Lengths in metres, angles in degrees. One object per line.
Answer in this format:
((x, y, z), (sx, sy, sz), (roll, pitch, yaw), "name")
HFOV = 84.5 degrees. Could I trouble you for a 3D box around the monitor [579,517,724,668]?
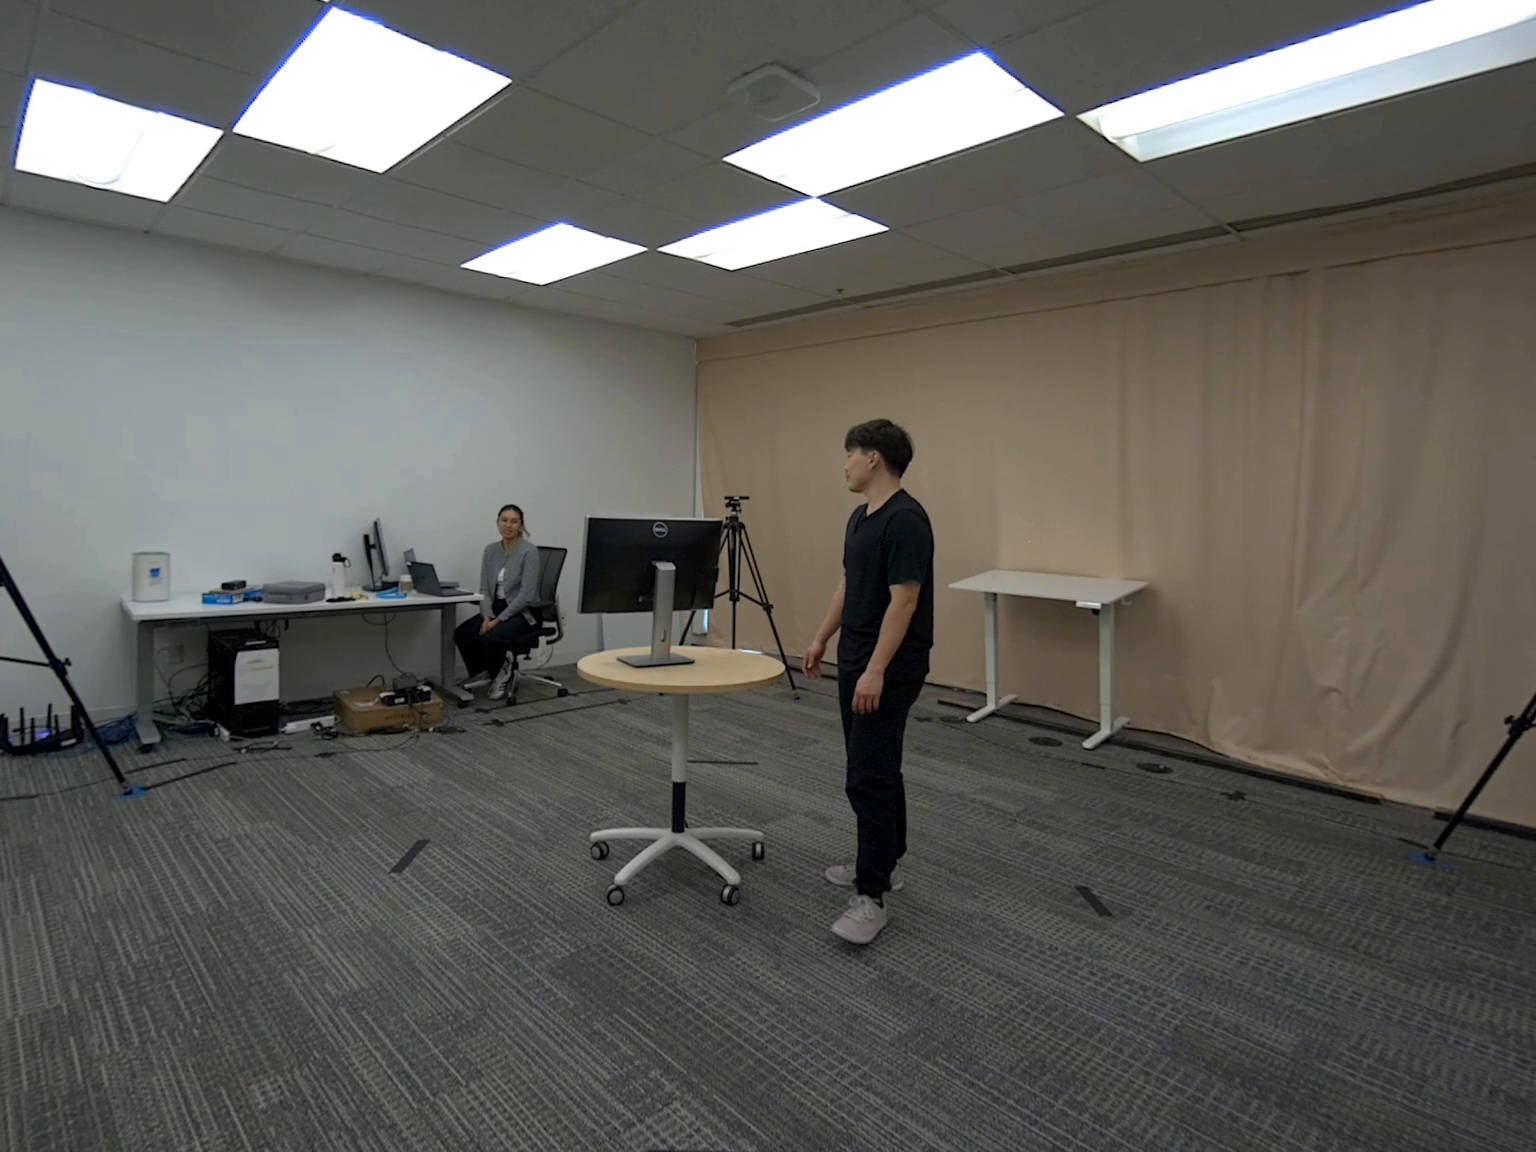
((-0.417, 0.060, 3.133), (0.527, 0.522, 0.191), (-1, 2, -34), "monitor")
